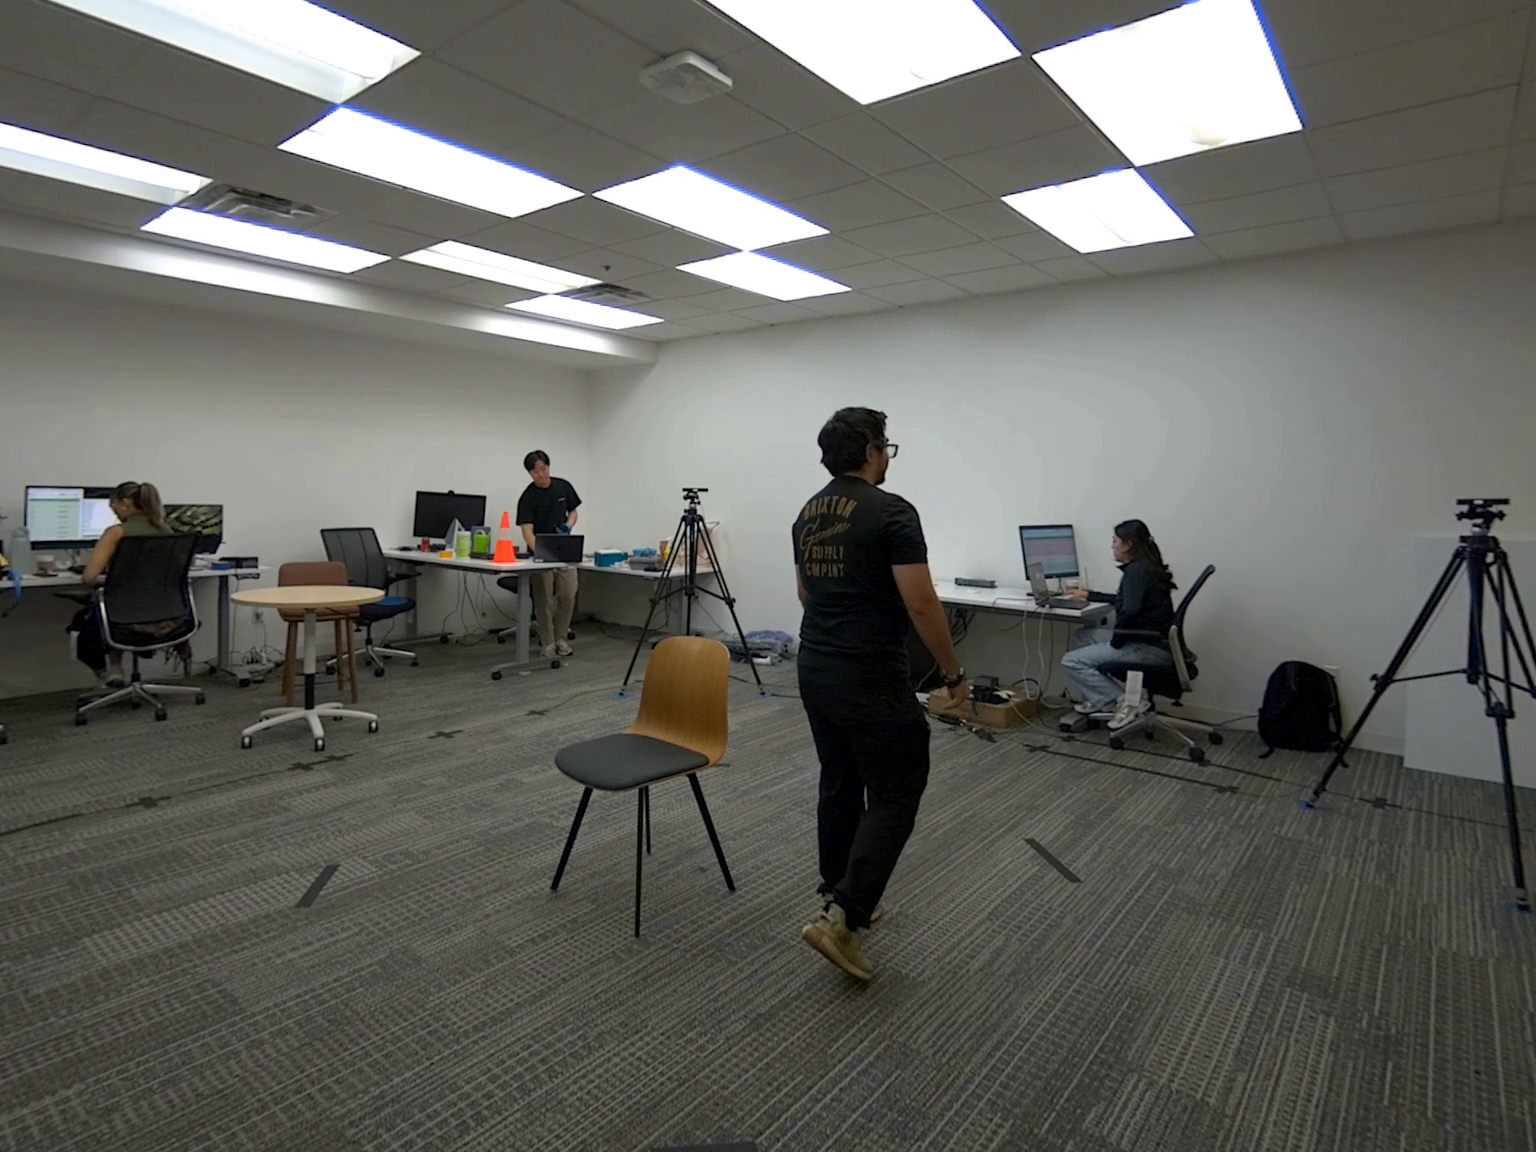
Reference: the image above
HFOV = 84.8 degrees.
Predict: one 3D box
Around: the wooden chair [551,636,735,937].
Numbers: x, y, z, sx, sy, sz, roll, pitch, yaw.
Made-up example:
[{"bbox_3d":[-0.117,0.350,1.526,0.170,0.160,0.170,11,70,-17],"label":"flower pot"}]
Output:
[{"bbox_3d":[-0.435,0.659,2.905,0.494,0.877,0.506,4,0,41],"label":"wooden chair"}]
